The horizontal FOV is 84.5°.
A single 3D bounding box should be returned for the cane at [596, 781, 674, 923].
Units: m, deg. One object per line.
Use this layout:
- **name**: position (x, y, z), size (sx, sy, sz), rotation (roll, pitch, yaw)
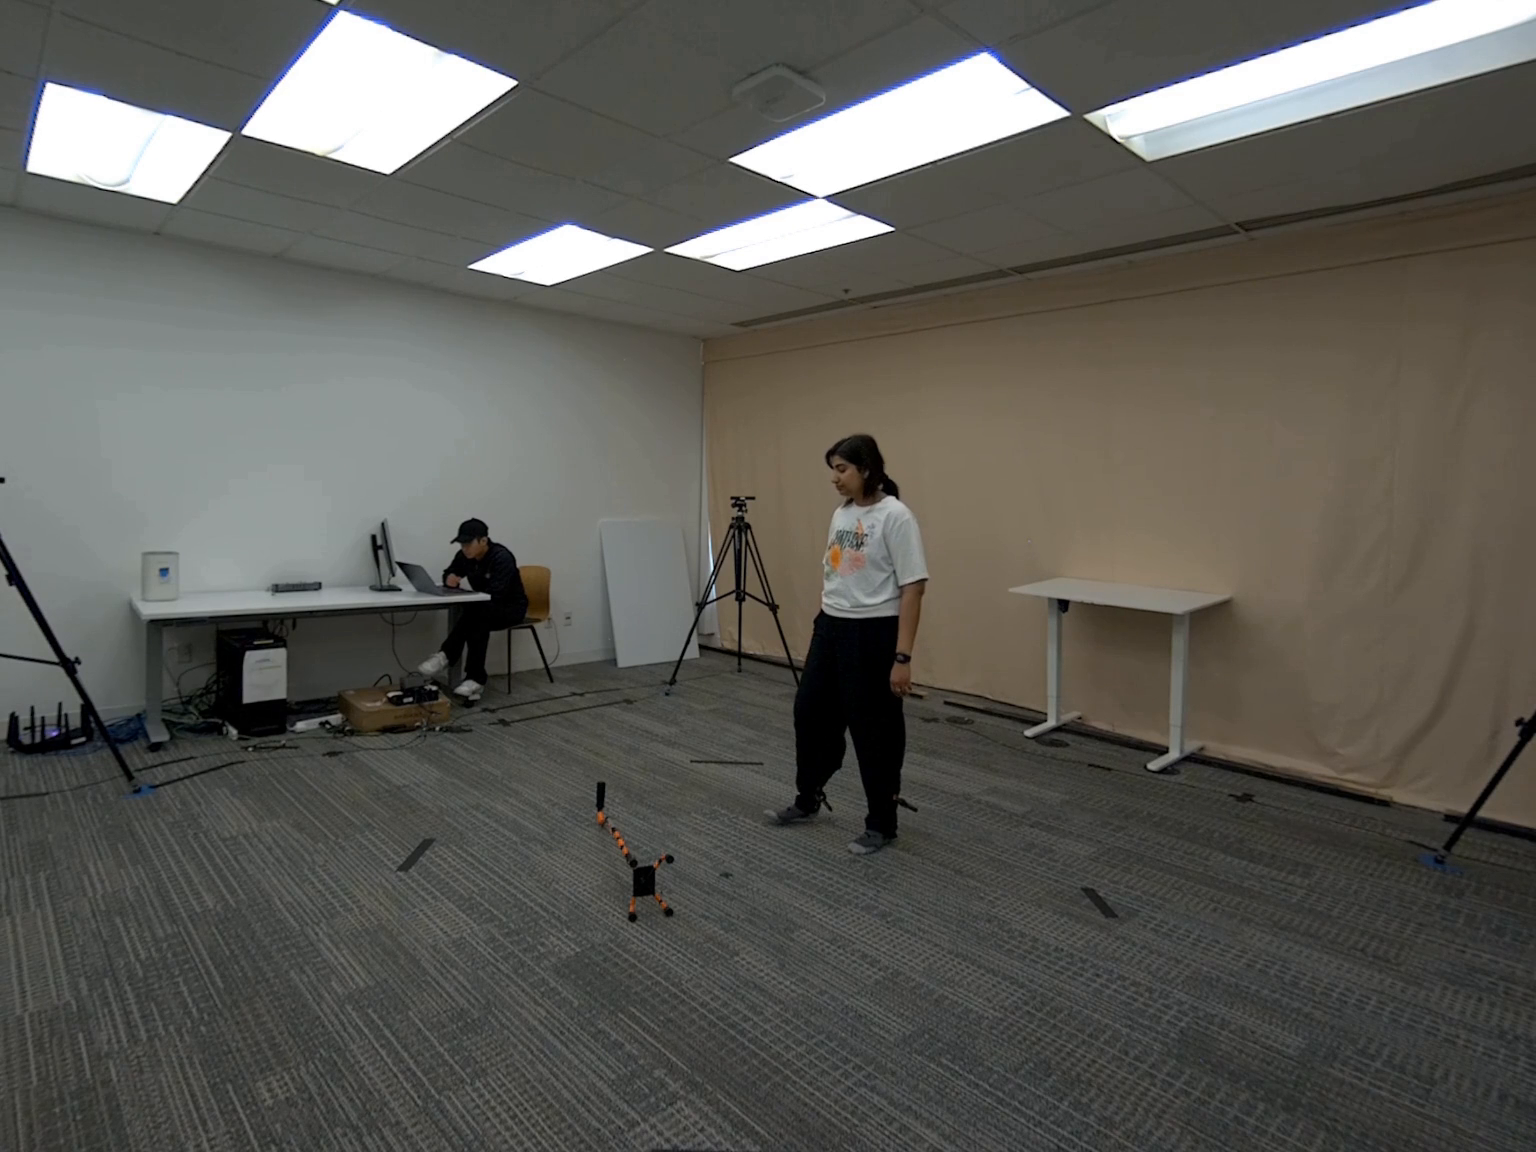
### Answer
- **cane**: position (-0.548, 0.996, 3.190), size (0.149, 0.206, 0.923), rotation (-2, 4, -20)
